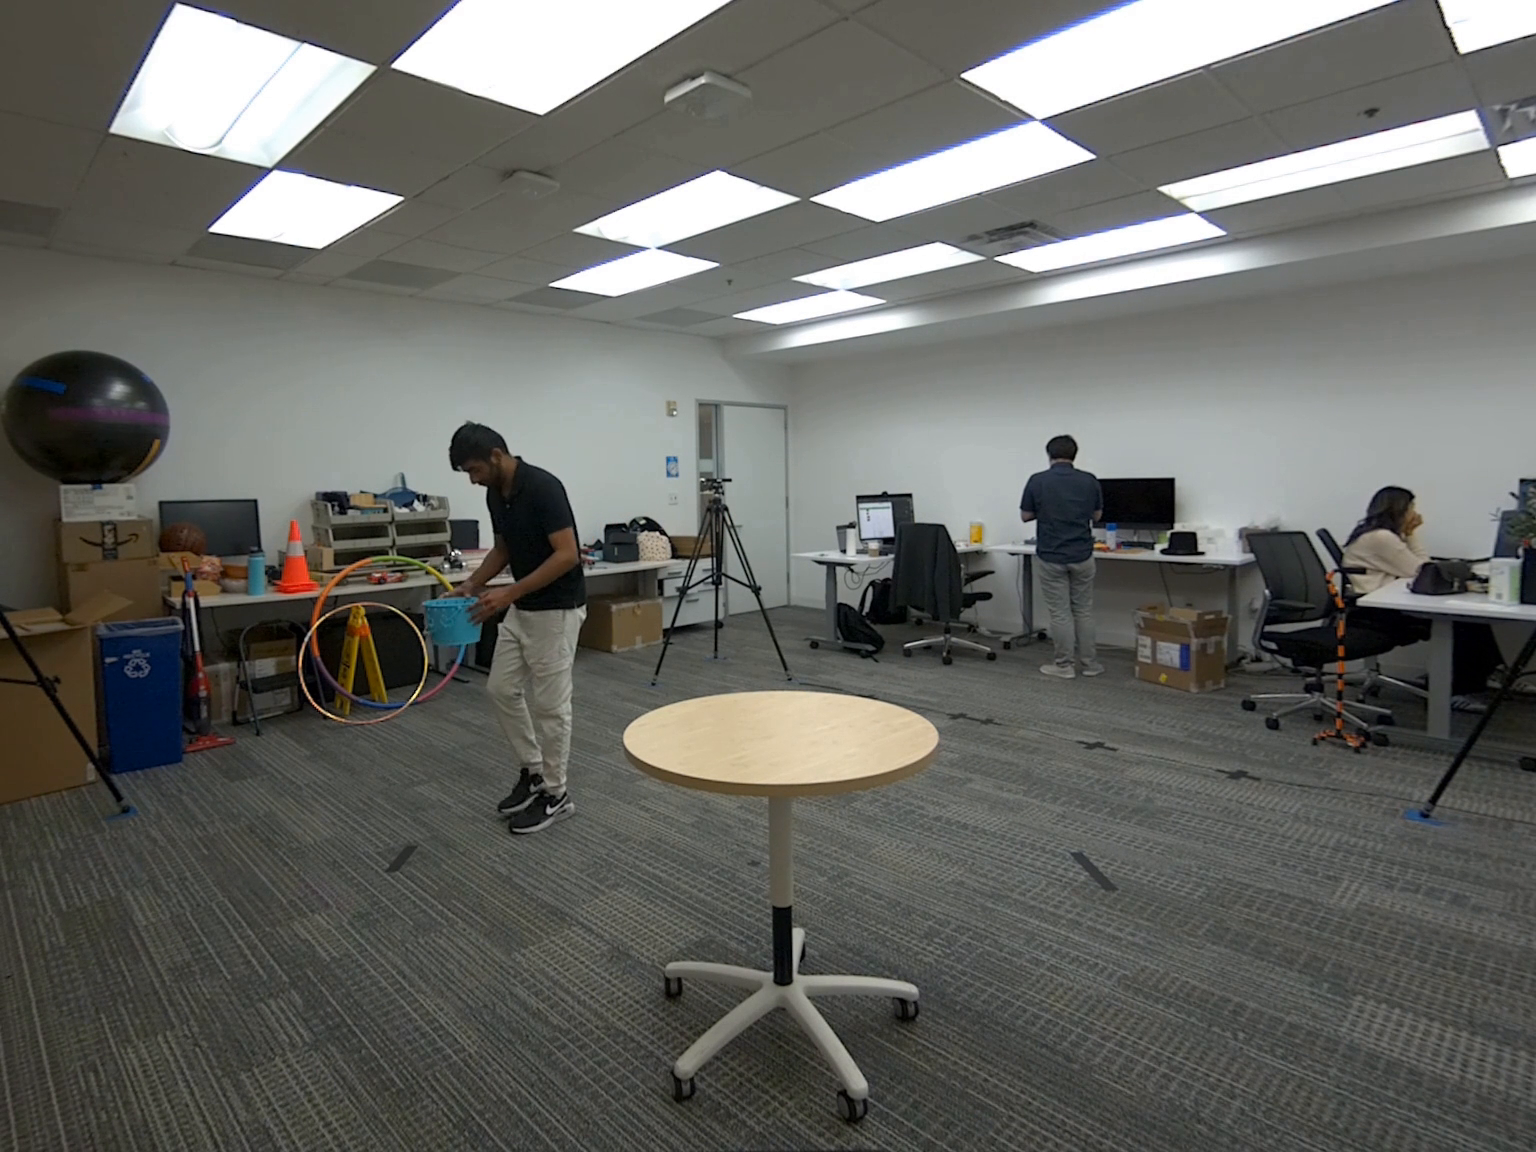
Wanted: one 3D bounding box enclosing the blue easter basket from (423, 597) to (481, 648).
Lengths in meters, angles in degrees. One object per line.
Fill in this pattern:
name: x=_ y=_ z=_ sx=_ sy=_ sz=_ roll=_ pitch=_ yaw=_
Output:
blue easter basket: x=-1.214 y=0.183 z=3.276 sx=0.243 sy=0.155 sz=0.245 roll=-2 pitch=5 yaw=-2
